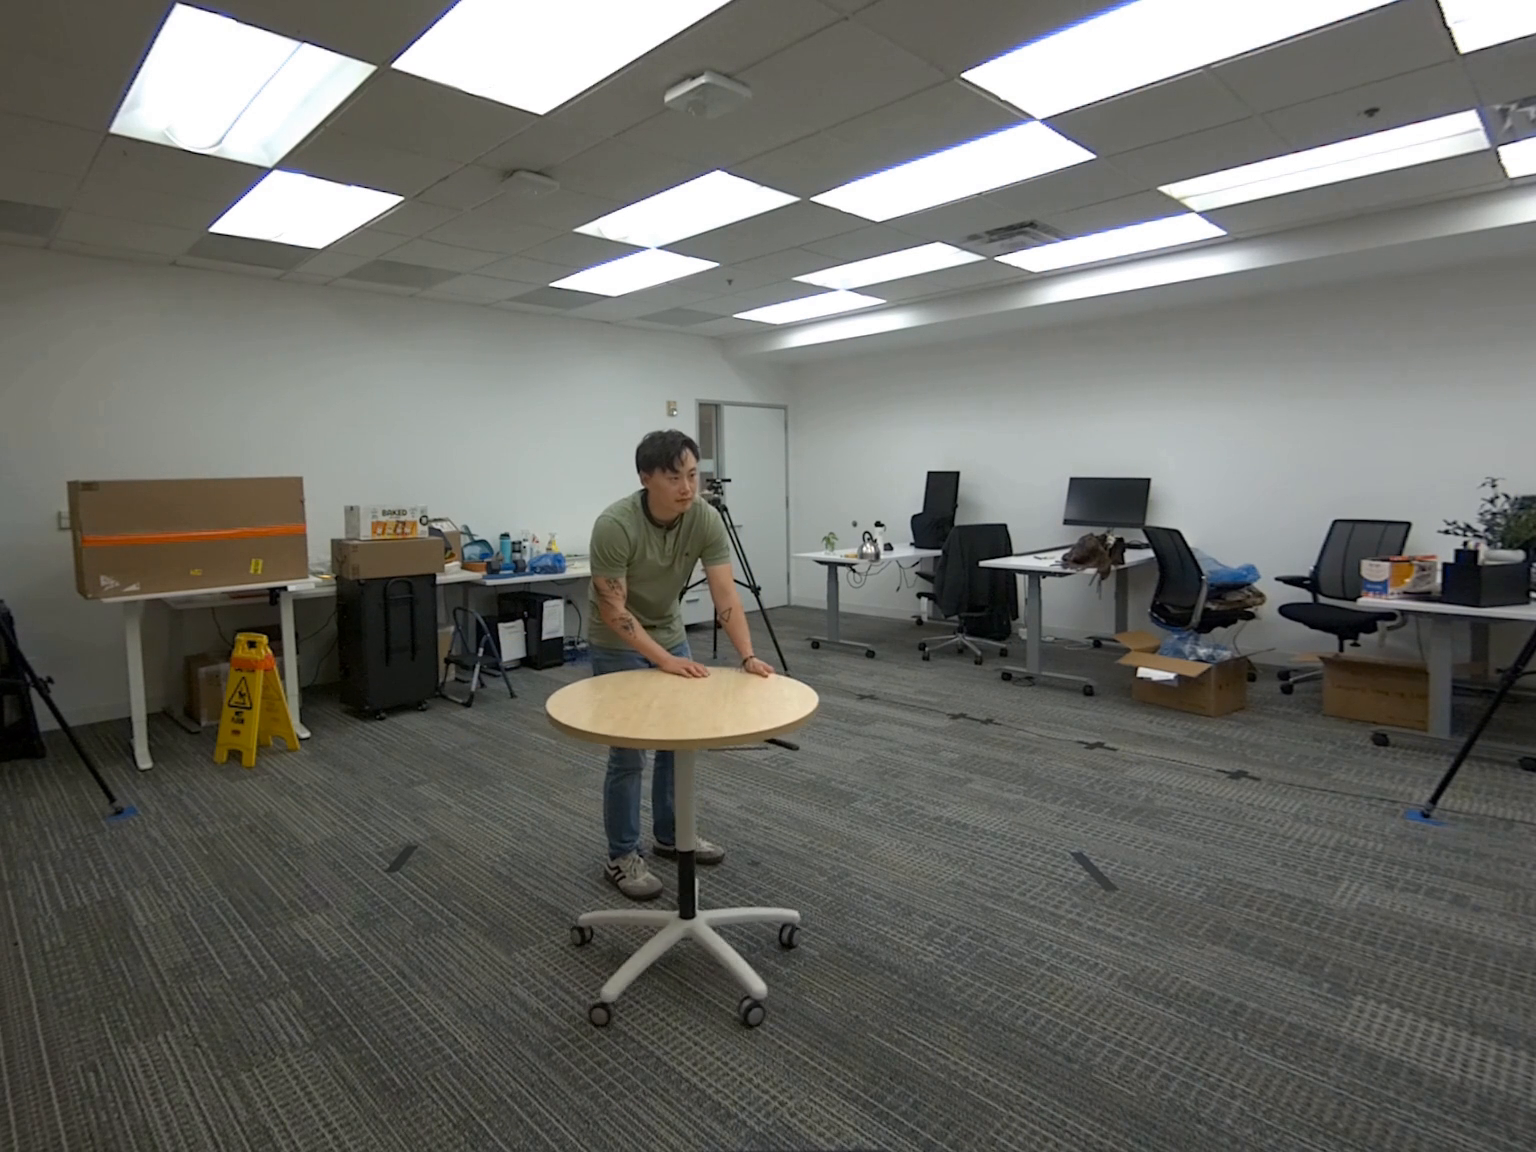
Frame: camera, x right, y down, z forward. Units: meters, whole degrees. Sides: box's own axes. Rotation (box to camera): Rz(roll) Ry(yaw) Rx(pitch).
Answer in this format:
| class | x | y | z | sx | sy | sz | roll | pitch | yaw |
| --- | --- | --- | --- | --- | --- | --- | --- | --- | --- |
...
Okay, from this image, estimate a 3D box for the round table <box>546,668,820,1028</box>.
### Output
| class | x | y | z | sx | sy | sz | roll | pitch | yaw |
| --- | --- | --- | --- | --- | --- | --- | --- | --- | --- |
| round table | -0.231 | 0.735 | 2.457 | 0.763 | 0.790 | 0.768 | -1 | 5 | -2 |
